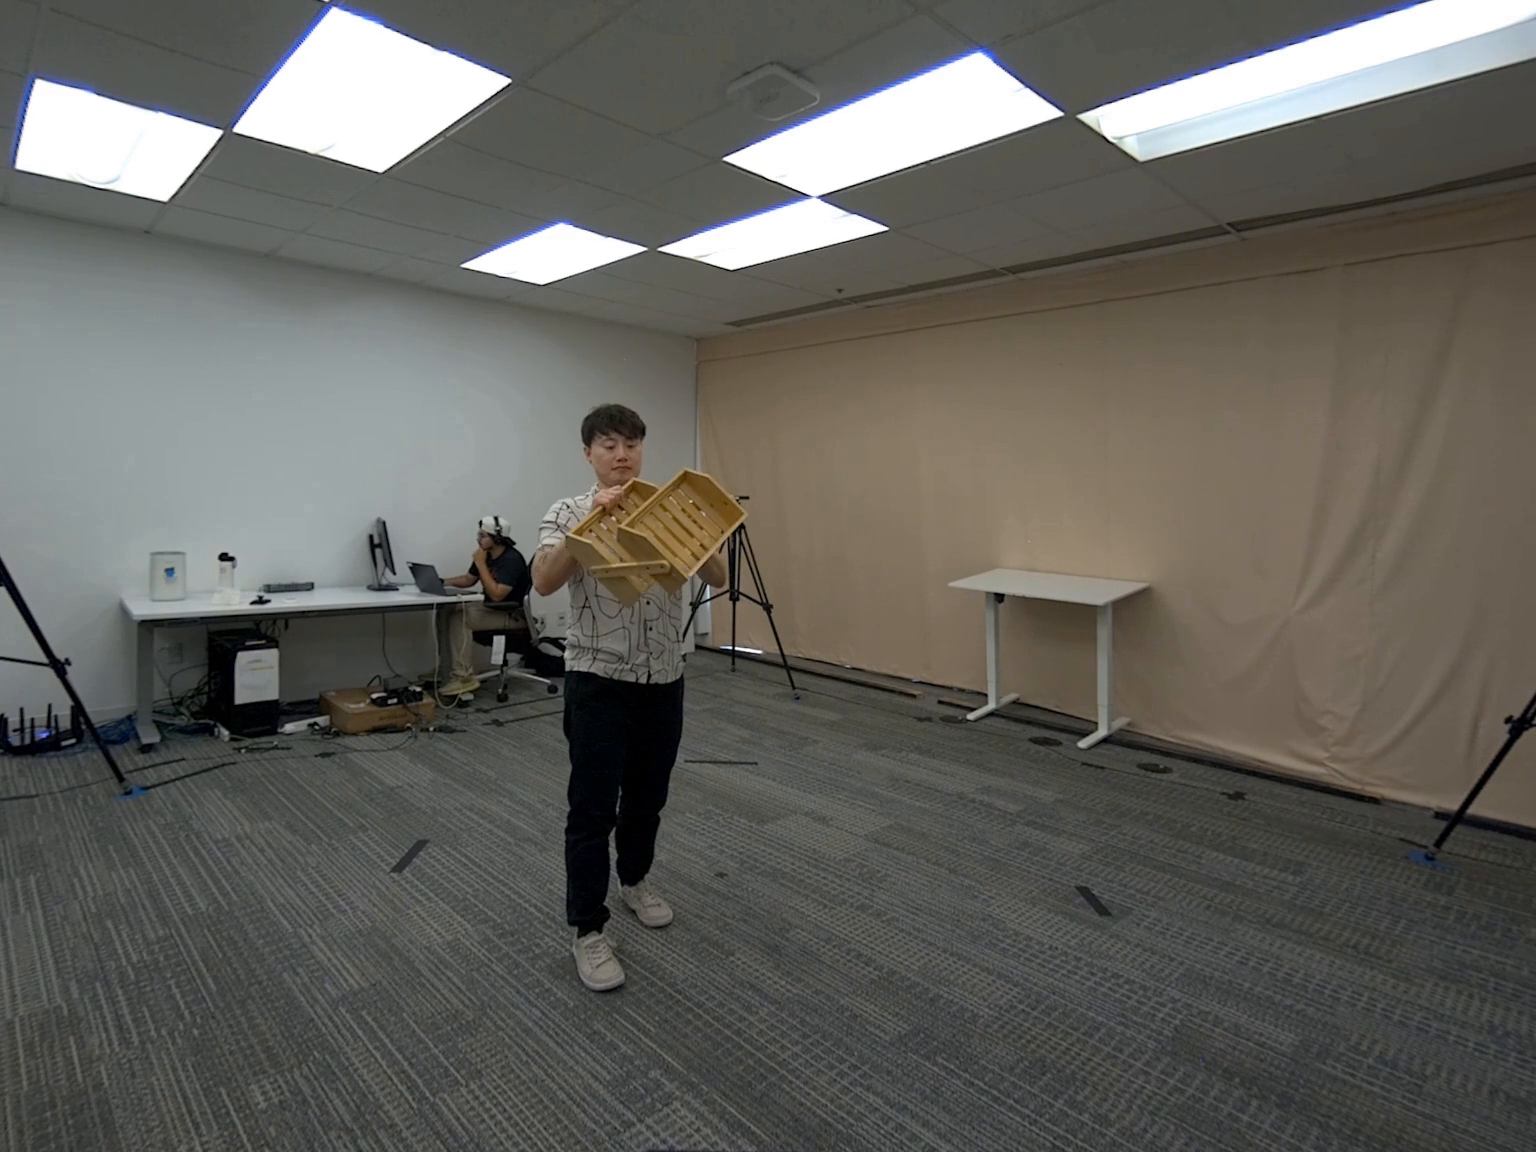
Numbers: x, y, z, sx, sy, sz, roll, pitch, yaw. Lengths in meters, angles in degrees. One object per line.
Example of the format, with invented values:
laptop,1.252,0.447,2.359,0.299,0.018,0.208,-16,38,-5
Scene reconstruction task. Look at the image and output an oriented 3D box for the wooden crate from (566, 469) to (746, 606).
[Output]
wooden crate,-0.302,-0.124,2.185,0.274,0.301,0.324,-41,6,47
